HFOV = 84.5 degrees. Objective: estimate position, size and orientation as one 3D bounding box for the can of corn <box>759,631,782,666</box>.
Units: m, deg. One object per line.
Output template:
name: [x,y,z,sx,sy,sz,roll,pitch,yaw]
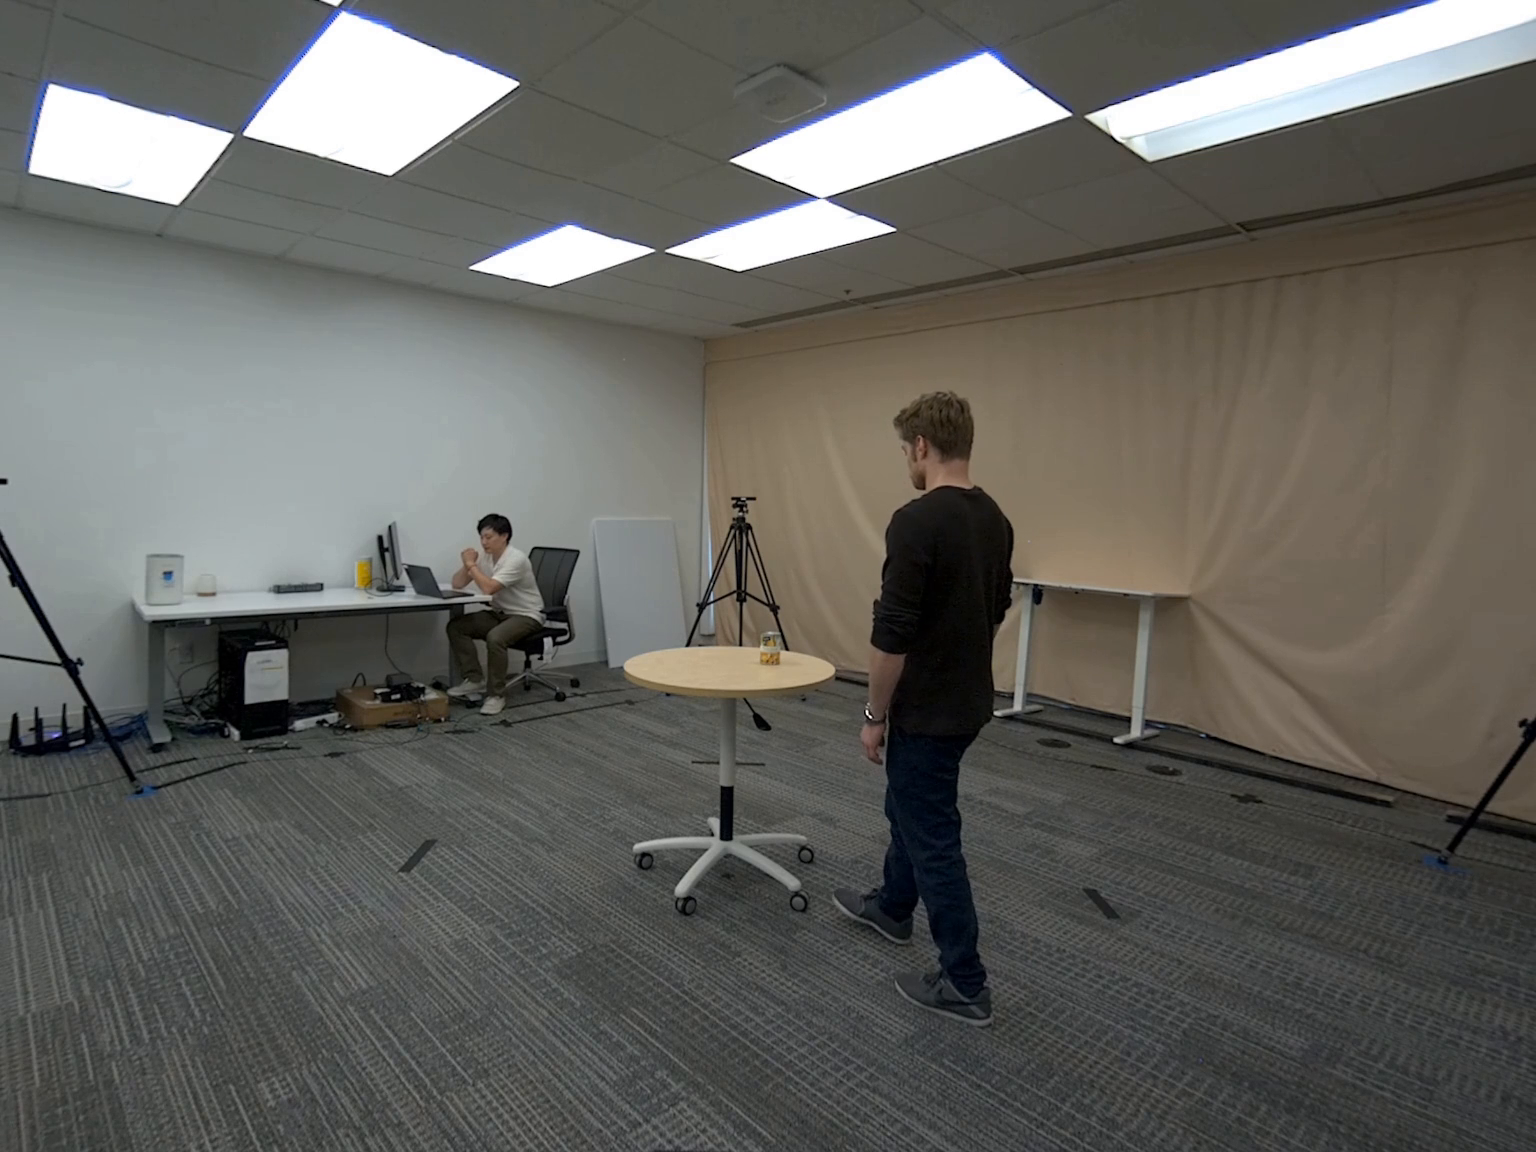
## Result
can of corn: [0.004,0.270,3.114,0.074,0.111,0.074,2,2,-1]
